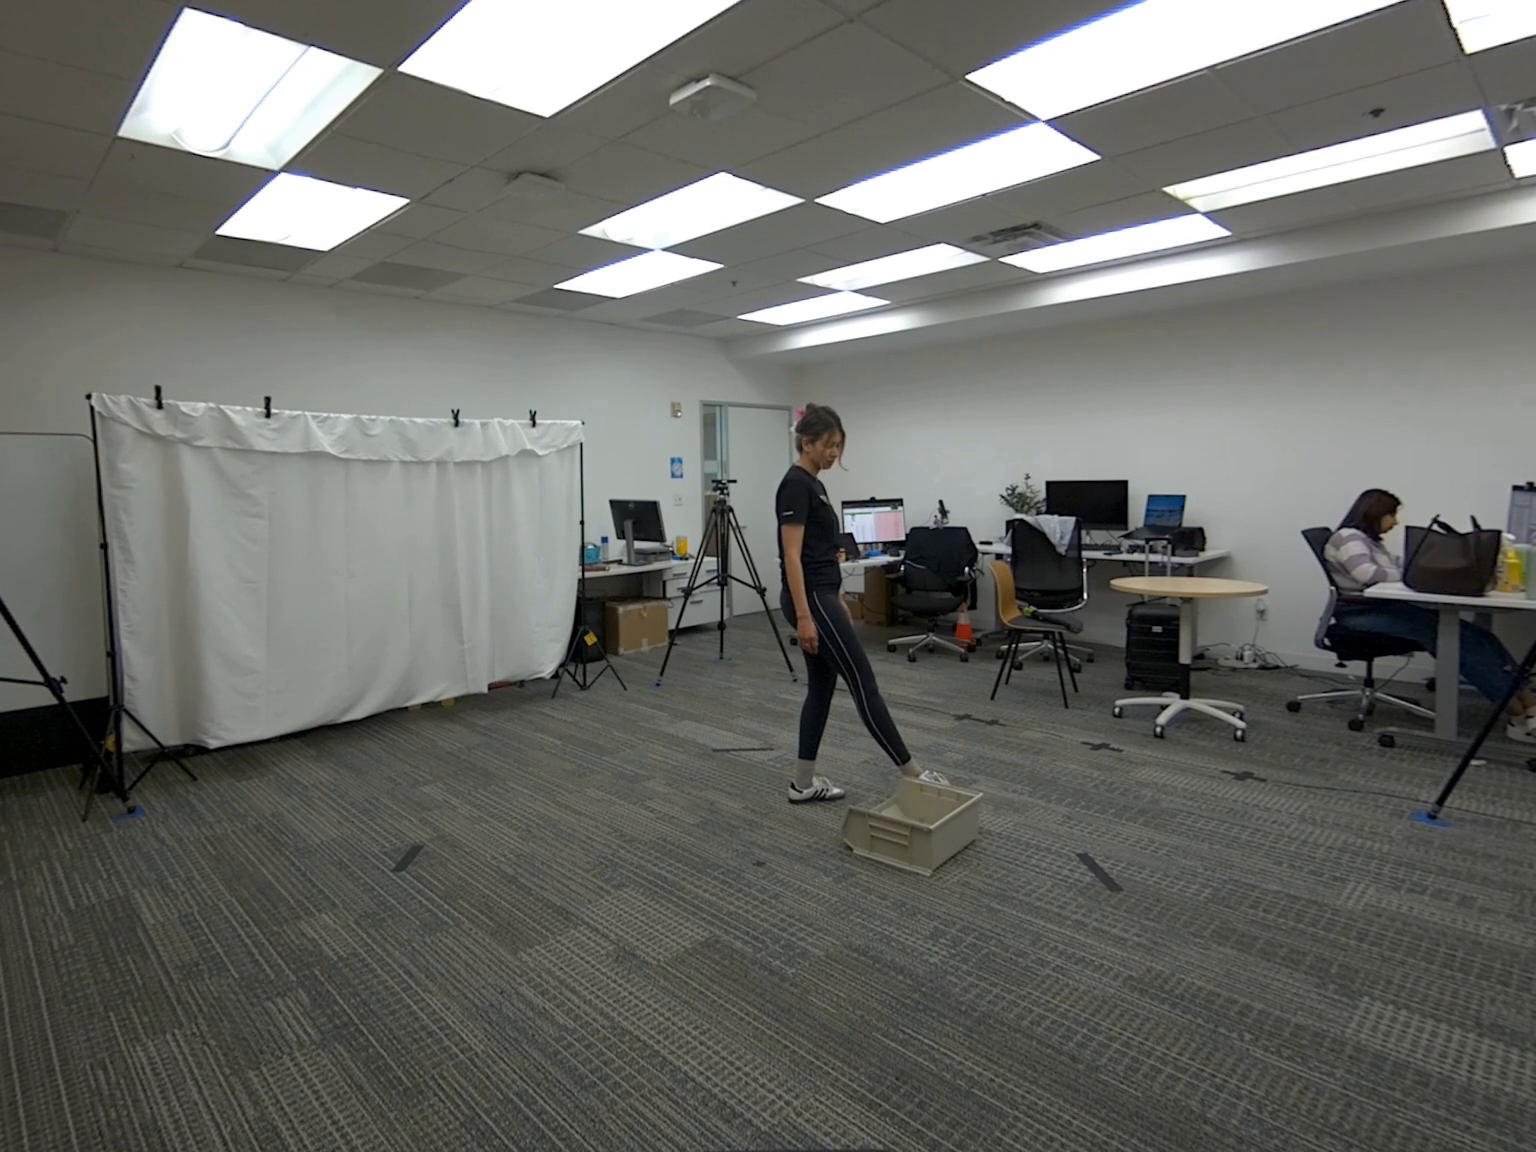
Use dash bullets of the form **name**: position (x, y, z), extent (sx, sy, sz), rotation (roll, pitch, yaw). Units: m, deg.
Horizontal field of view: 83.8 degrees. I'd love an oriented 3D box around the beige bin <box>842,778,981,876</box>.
- **beige bin**: position (0.547, 0.929, 3.246), extent (0.389, 0.188, 0.411), rotation (5, 8, 39)
